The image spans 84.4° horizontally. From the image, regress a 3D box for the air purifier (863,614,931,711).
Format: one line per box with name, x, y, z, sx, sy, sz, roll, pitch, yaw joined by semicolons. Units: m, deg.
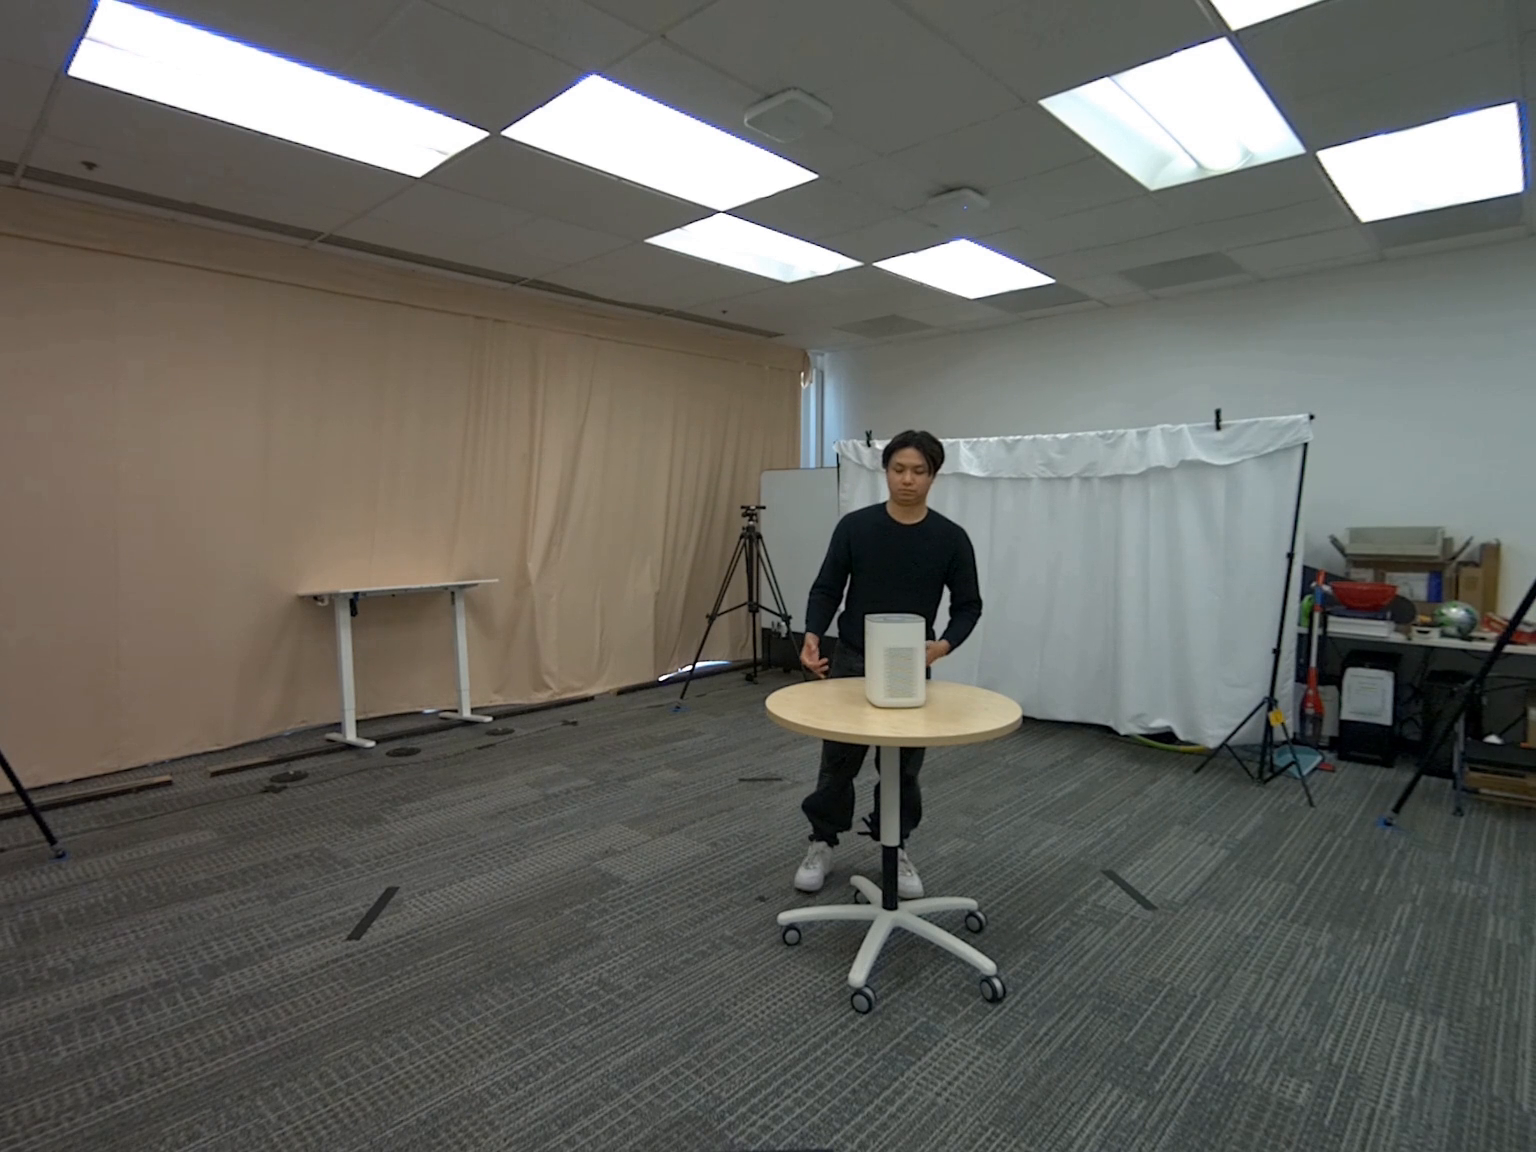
air purifier;0.384;0.253;2.572;0.172;0.265;0.171;-2;4;1
